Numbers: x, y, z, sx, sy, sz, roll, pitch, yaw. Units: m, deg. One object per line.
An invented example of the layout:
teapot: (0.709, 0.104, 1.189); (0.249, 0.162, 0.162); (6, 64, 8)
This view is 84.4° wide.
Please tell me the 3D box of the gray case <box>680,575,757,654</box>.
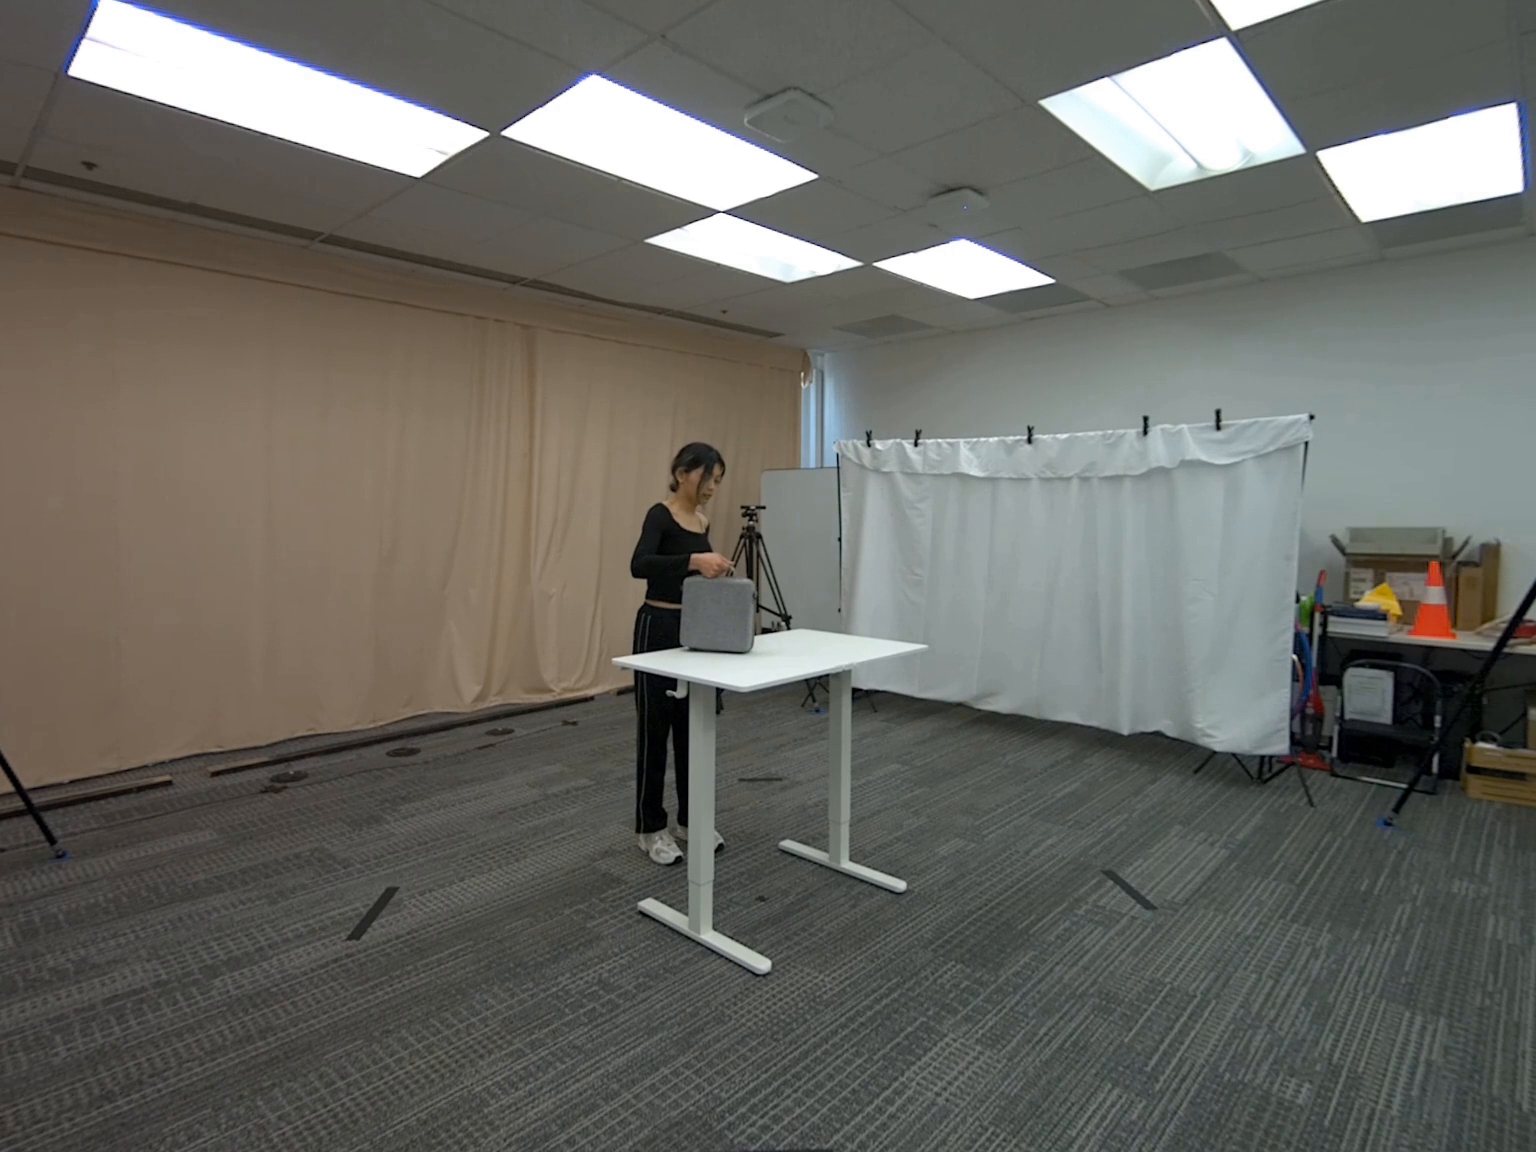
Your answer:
gray case: (-0.166, 0.130, 2.932); (0.261, 0.260, 0.103); (2, 2, 15)
